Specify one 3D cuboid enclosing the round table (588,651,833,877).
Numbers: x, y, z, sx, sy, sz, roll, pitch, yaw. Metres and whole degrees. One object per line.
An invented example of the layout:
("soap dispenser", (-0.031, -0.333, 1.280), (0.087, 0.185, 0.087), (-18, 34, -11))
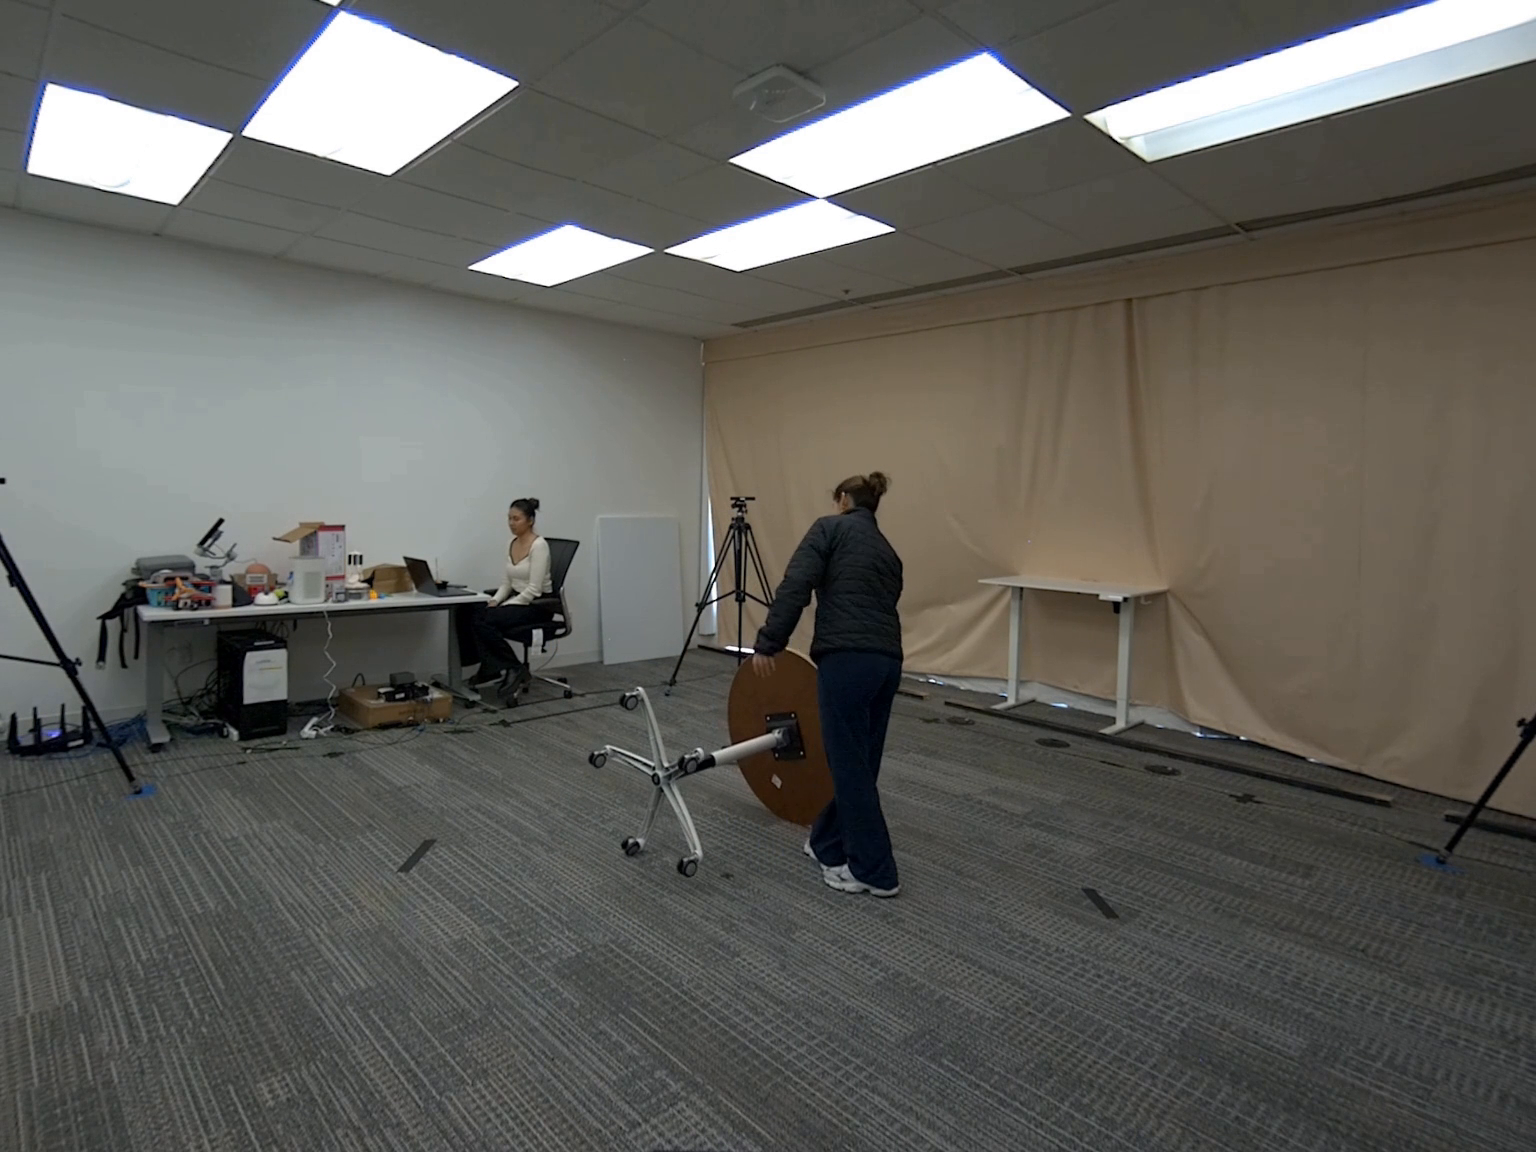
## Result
("round table", (-0.196, 0.730, 3.365), (0.770, 0.781, 0.805), (-8, 10, -42))
